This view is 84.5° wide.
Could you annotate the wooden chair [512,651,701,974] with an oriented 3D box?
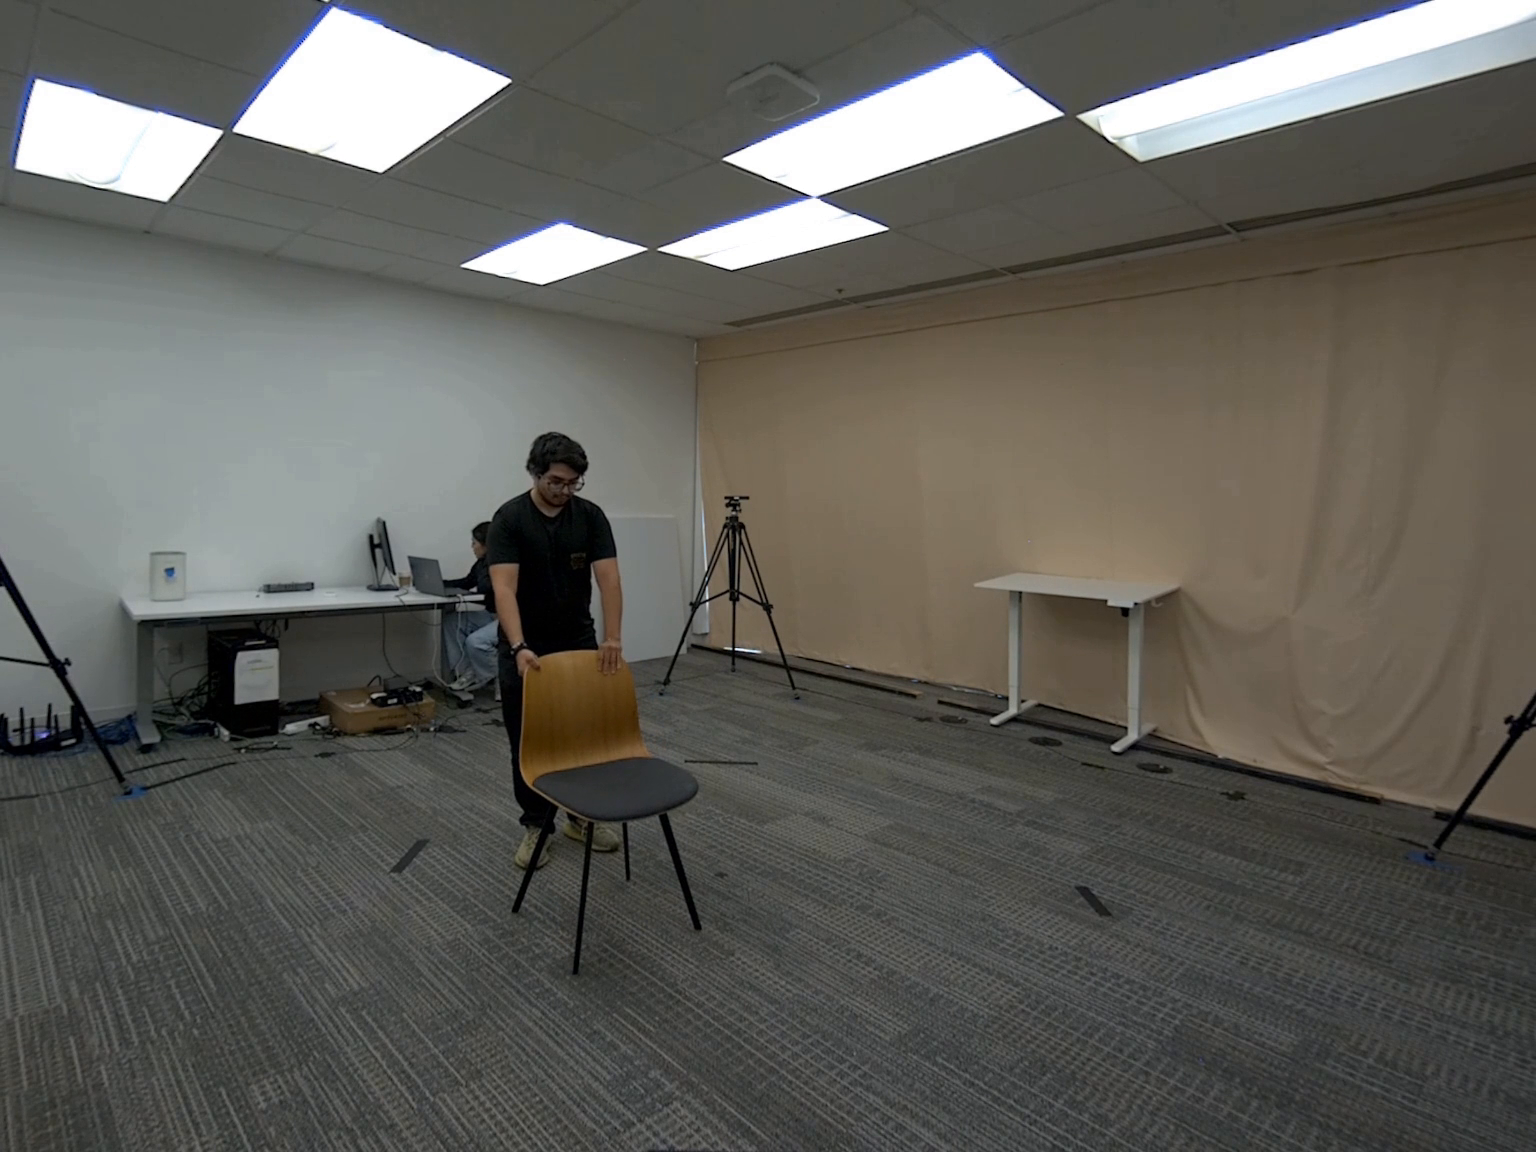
[{"bbox_3d":[-0.521,0.704,2.709,0.467,0.878,0.535,-1,0,-39],"label":"wooden chair"}]
